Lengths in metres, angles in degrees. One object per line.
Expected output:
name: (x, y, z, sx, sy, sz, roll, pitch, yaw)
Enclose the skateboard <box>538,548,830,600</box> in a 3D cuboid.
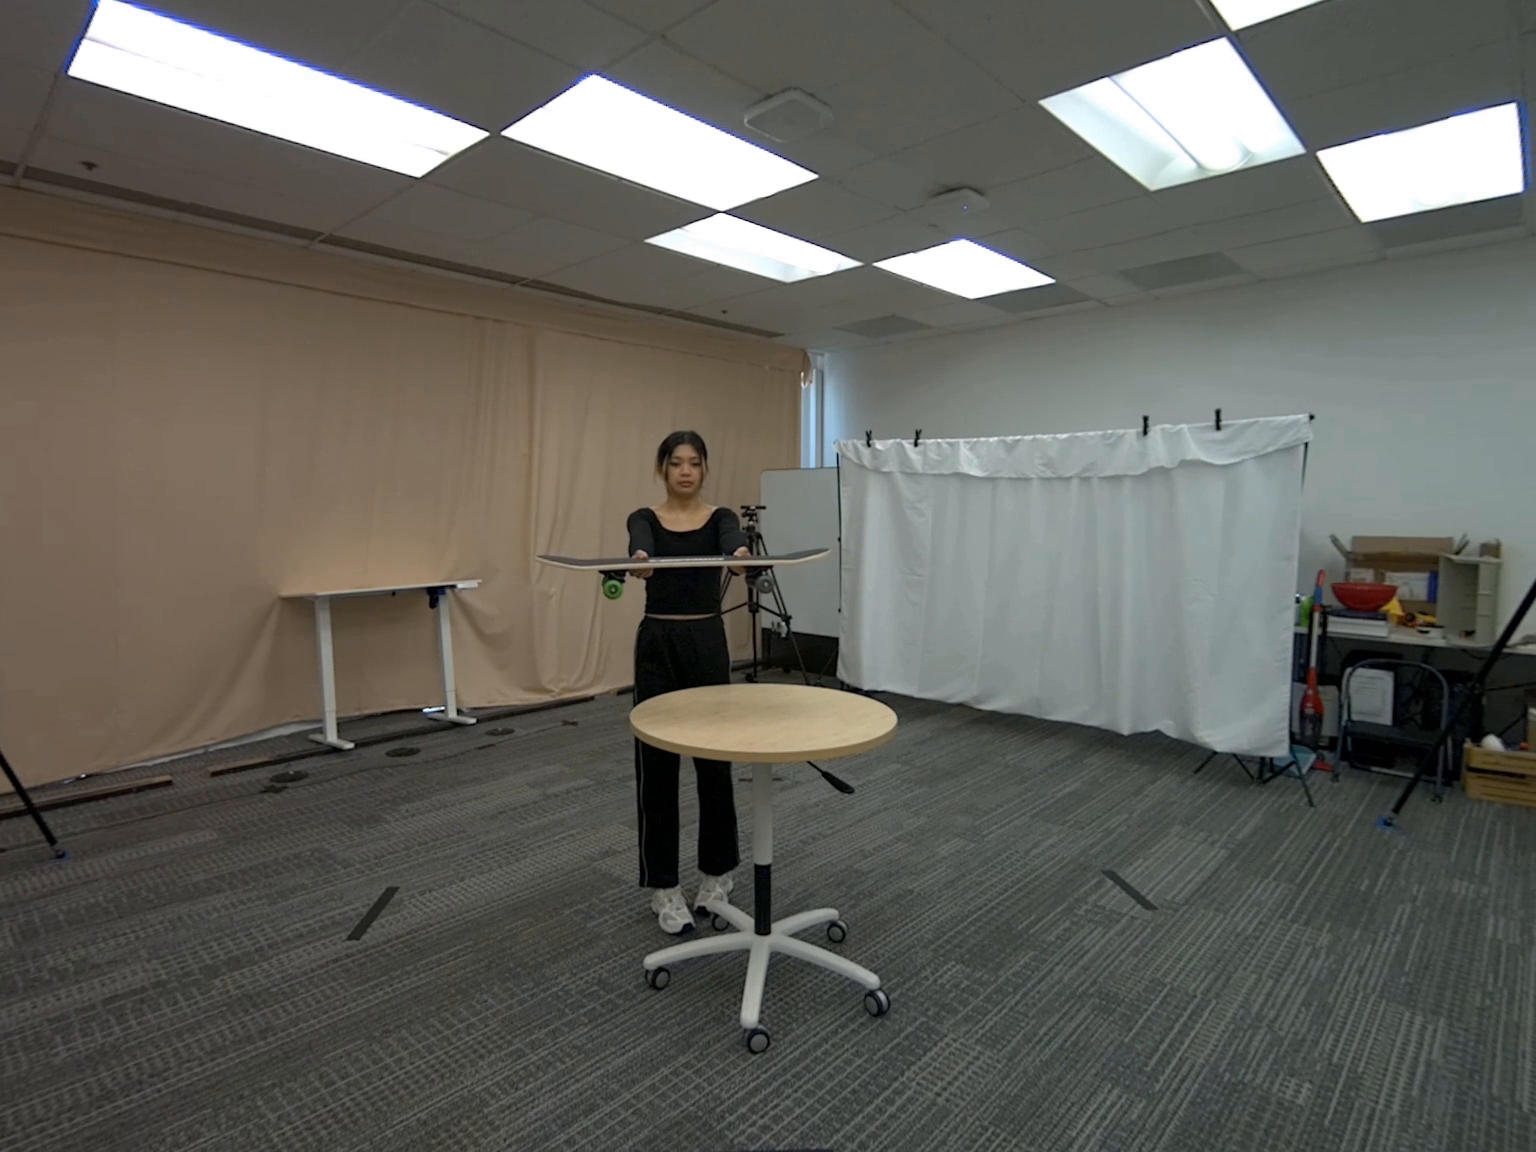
skateboard: (-0.220, -0.008, 2.254, 0.776, 0.110, 0.196, -2, 6, -11)
